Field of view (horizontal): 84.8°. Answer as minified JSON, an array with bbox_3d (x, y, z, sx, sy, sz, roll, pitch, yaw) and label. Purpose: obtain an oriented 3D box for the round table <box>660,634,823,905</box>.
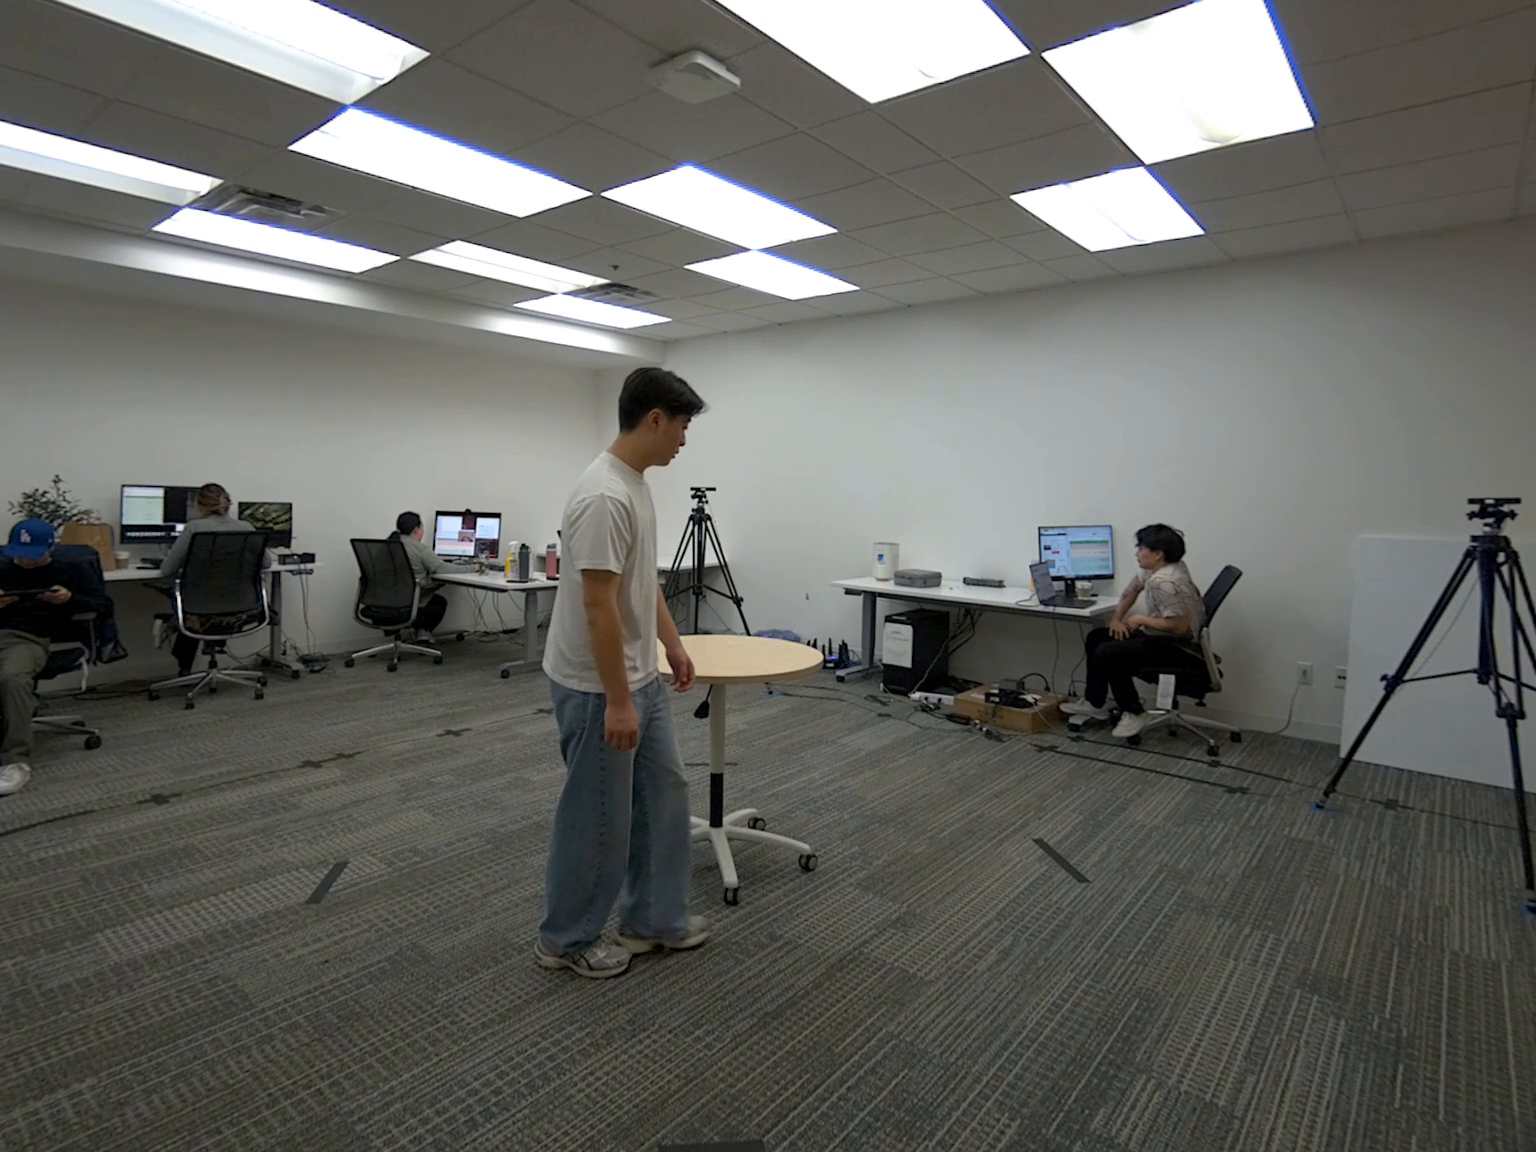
[{"bbox_3d":[-0.195,0.674,3.139,0.763,0.791,0.768,1,4,-2],"label":"round table"}]
